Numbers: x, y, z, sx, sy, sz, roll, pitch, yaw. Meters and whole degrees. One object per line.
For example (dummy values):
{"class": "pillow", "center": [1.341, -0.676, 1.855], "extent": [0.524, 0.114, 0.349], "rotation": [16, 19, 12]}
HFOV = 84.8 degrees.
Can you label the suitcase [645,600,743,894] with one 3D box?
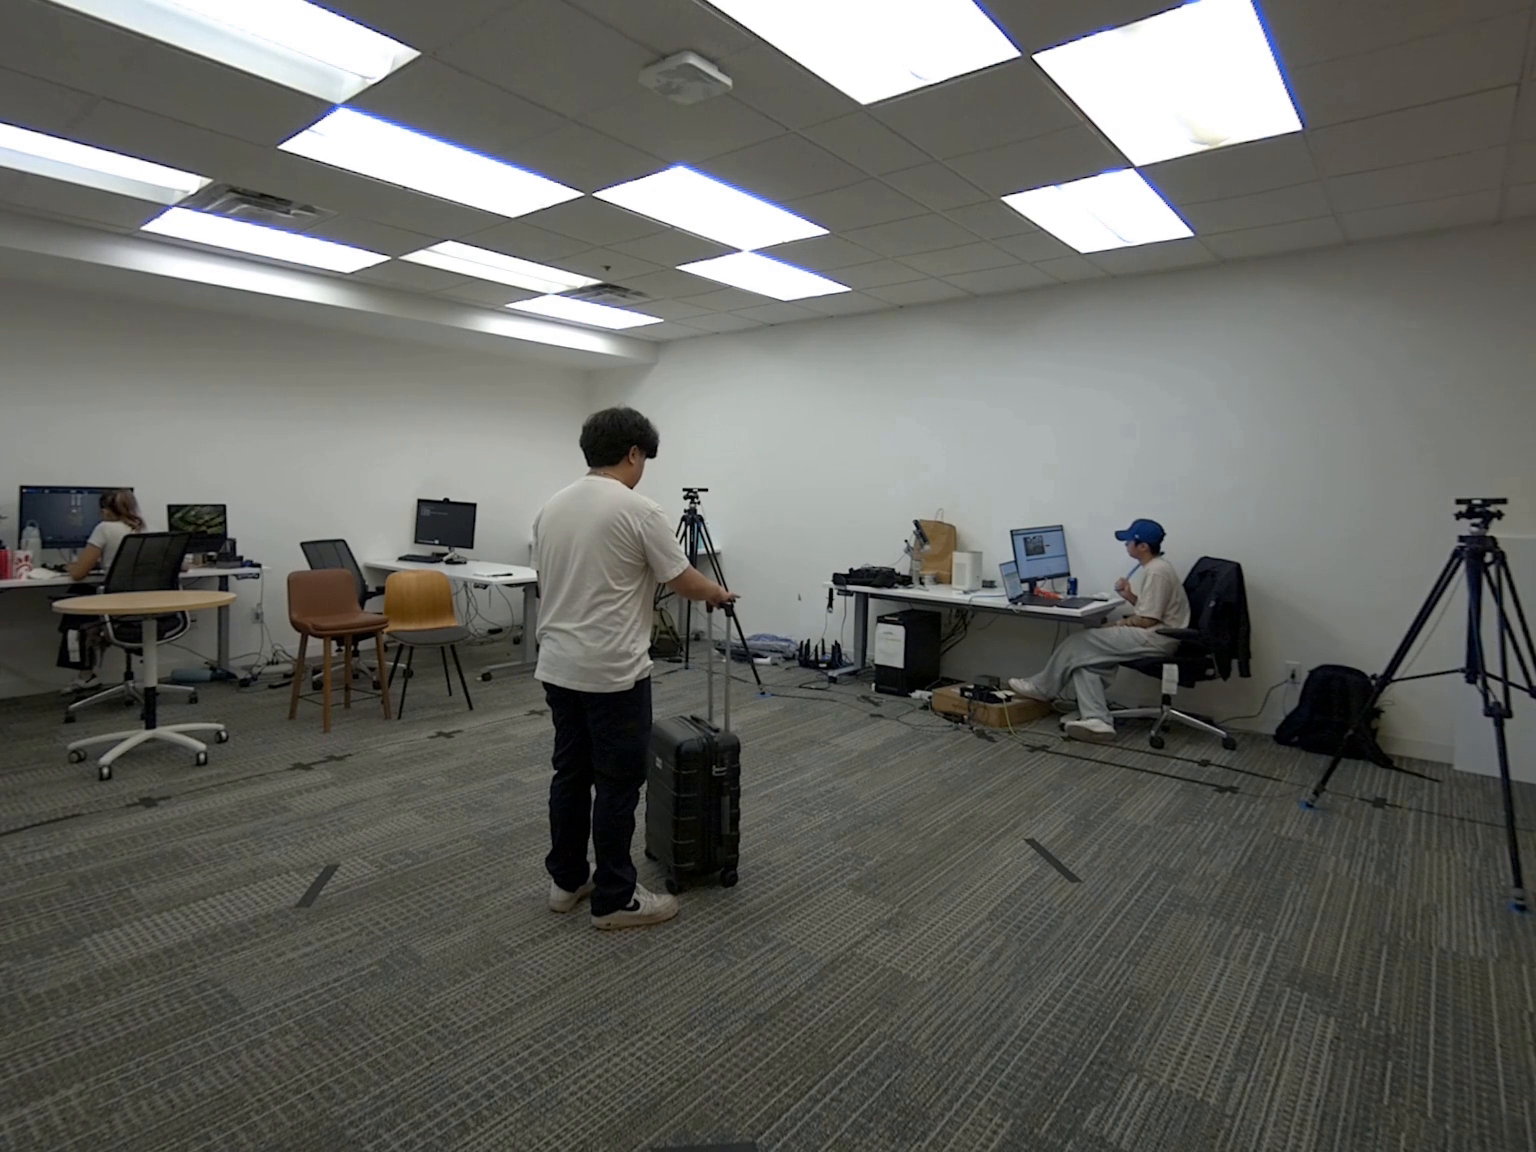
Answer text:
{"class": "suitcase", "center": [-0.285, 0.596, 3.068], "extent": [0.251, 0.976, 0.393], "rotation": [-2, 3, -23]}
